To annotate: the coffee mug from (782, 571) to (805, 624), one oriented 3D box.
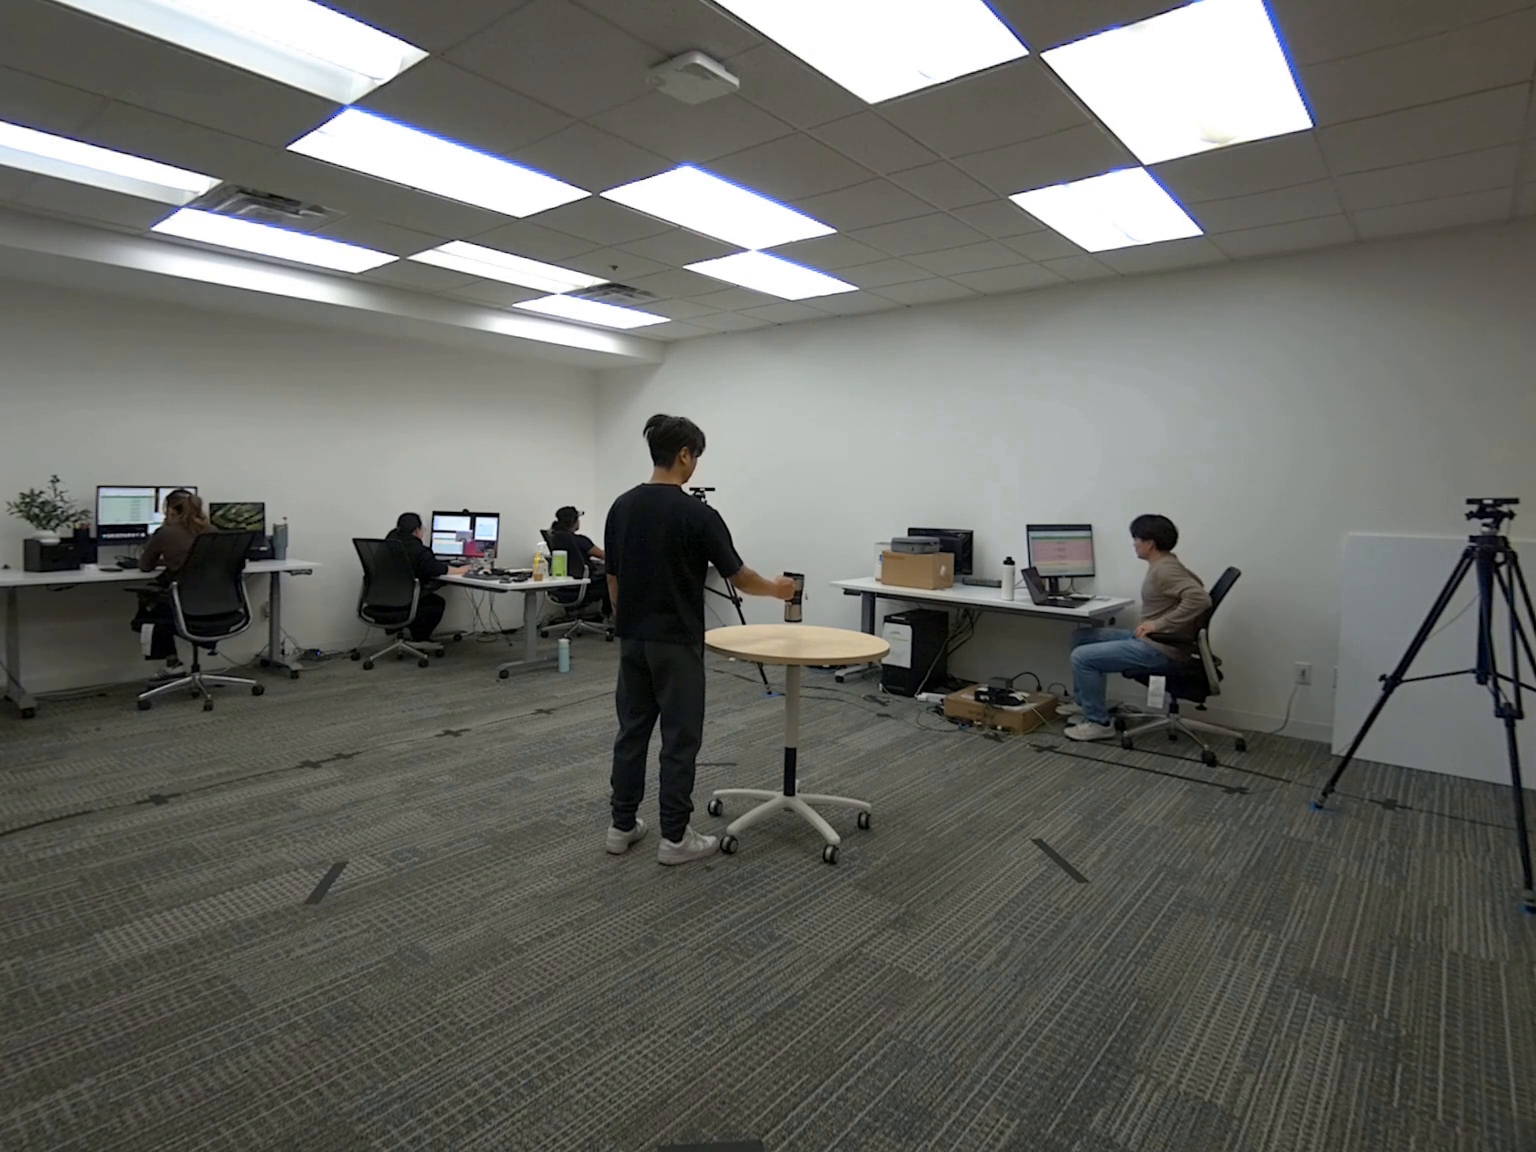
[{"bbox_3d":[0.074,0.086,3.464,0.118,0.202,0.091,2,3,-43],"label":"coffee mug"}]
